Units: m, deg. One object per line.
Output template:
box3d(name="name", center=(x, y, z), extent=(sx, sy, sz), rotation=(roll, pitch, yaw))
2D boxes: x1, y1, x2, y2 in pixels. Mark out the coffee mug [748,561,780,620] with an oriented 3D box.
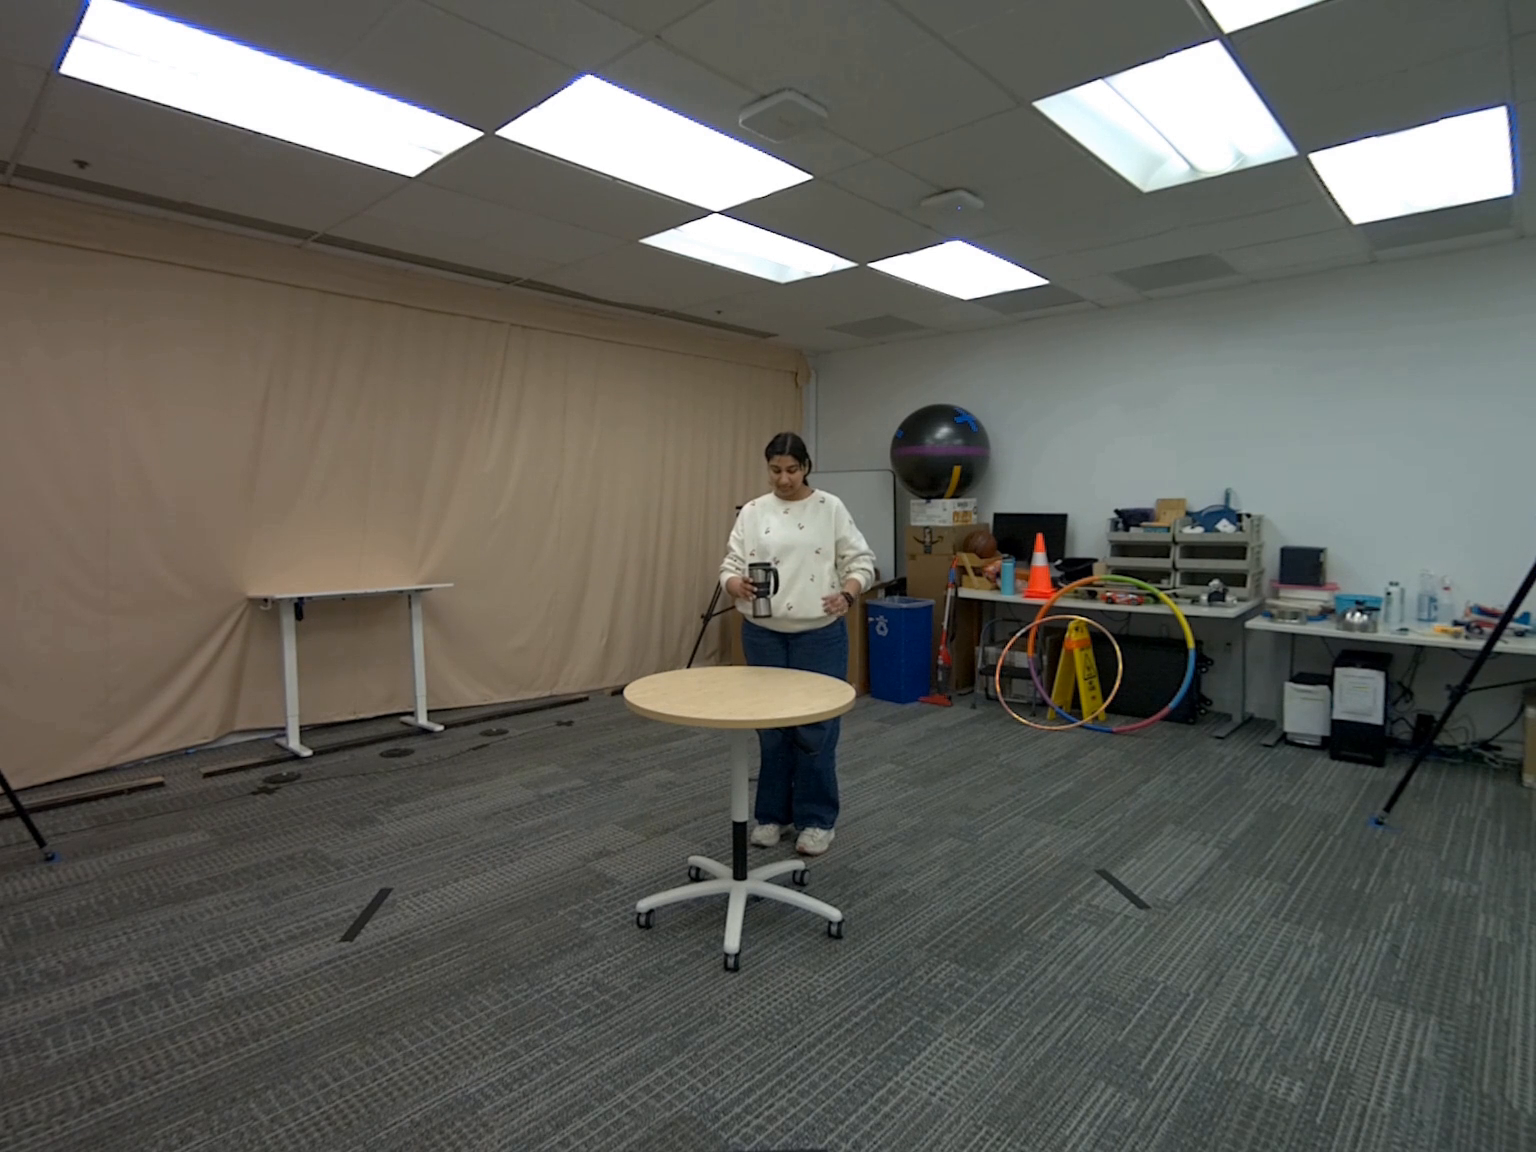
box3d(name="coffee mug", center=(-0.014, 0.053, 3.079), extent=(0.086, 0.203, 0.124), rotation=(-1, -2, -24))
